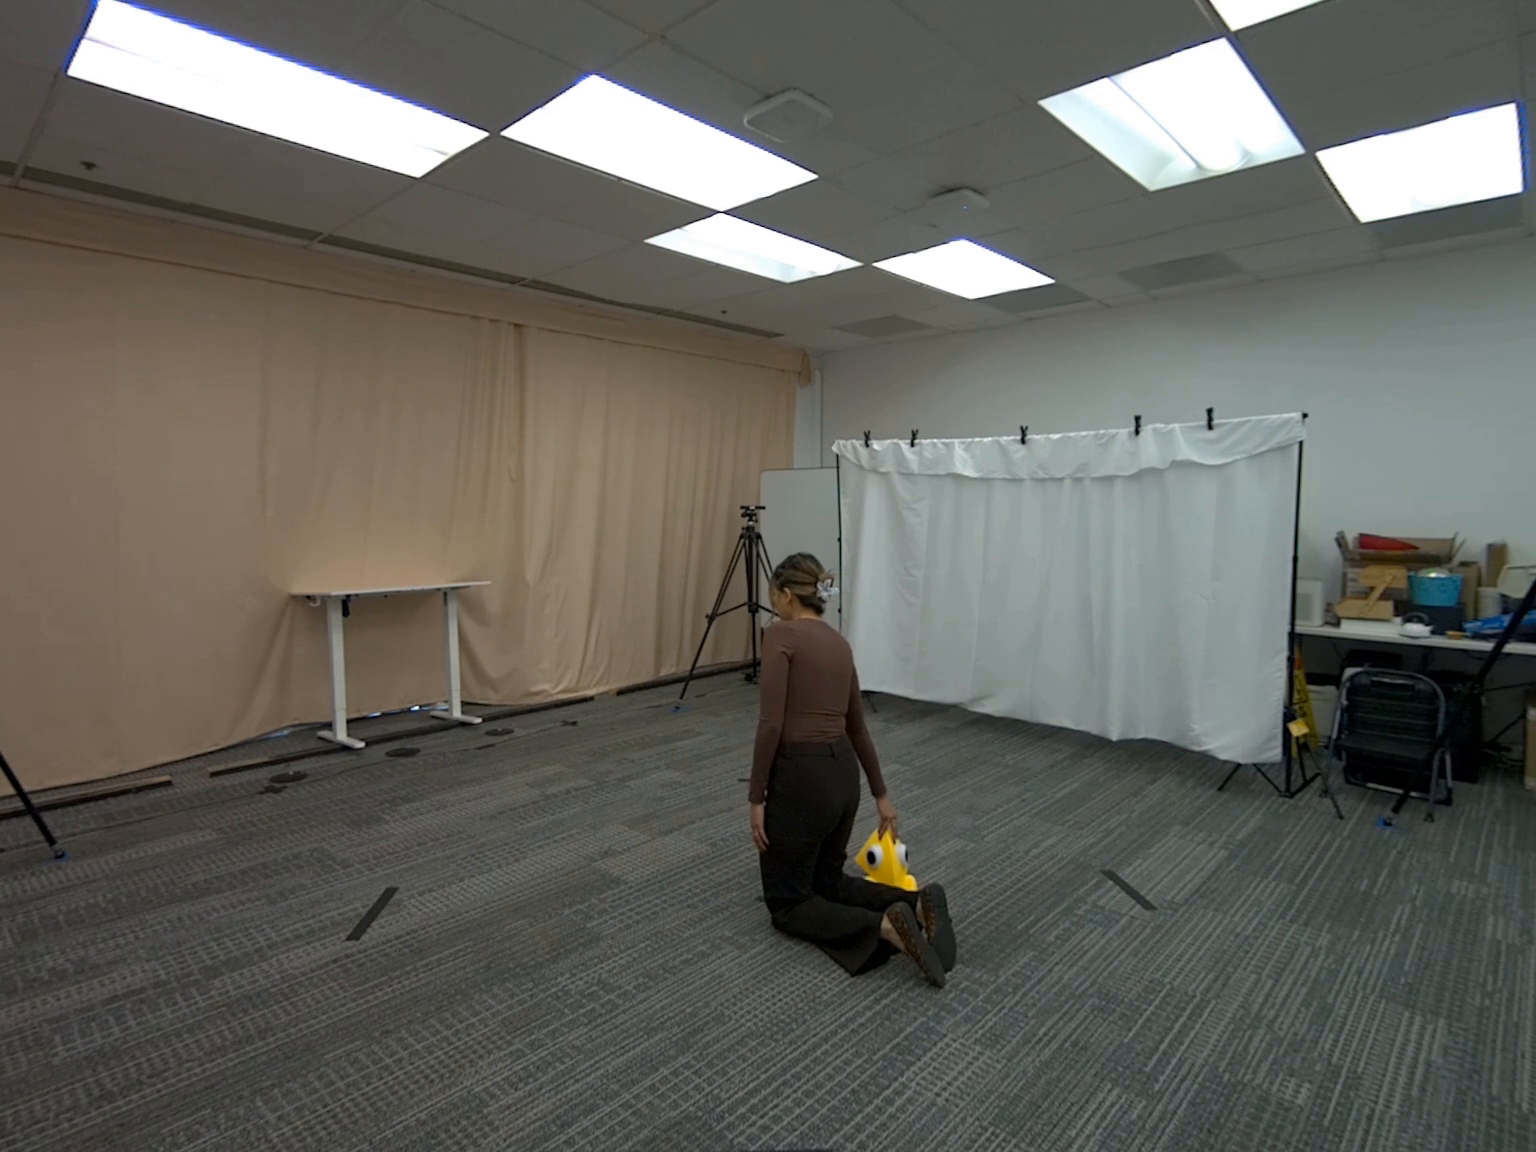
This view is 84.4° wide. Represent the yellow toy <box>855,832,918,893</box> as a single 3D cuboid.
[{"bbox_3d":[0.437,1.022,3.037,0.203,0.230,0.194,0,2,-6],"label":"yellow toy"}]
